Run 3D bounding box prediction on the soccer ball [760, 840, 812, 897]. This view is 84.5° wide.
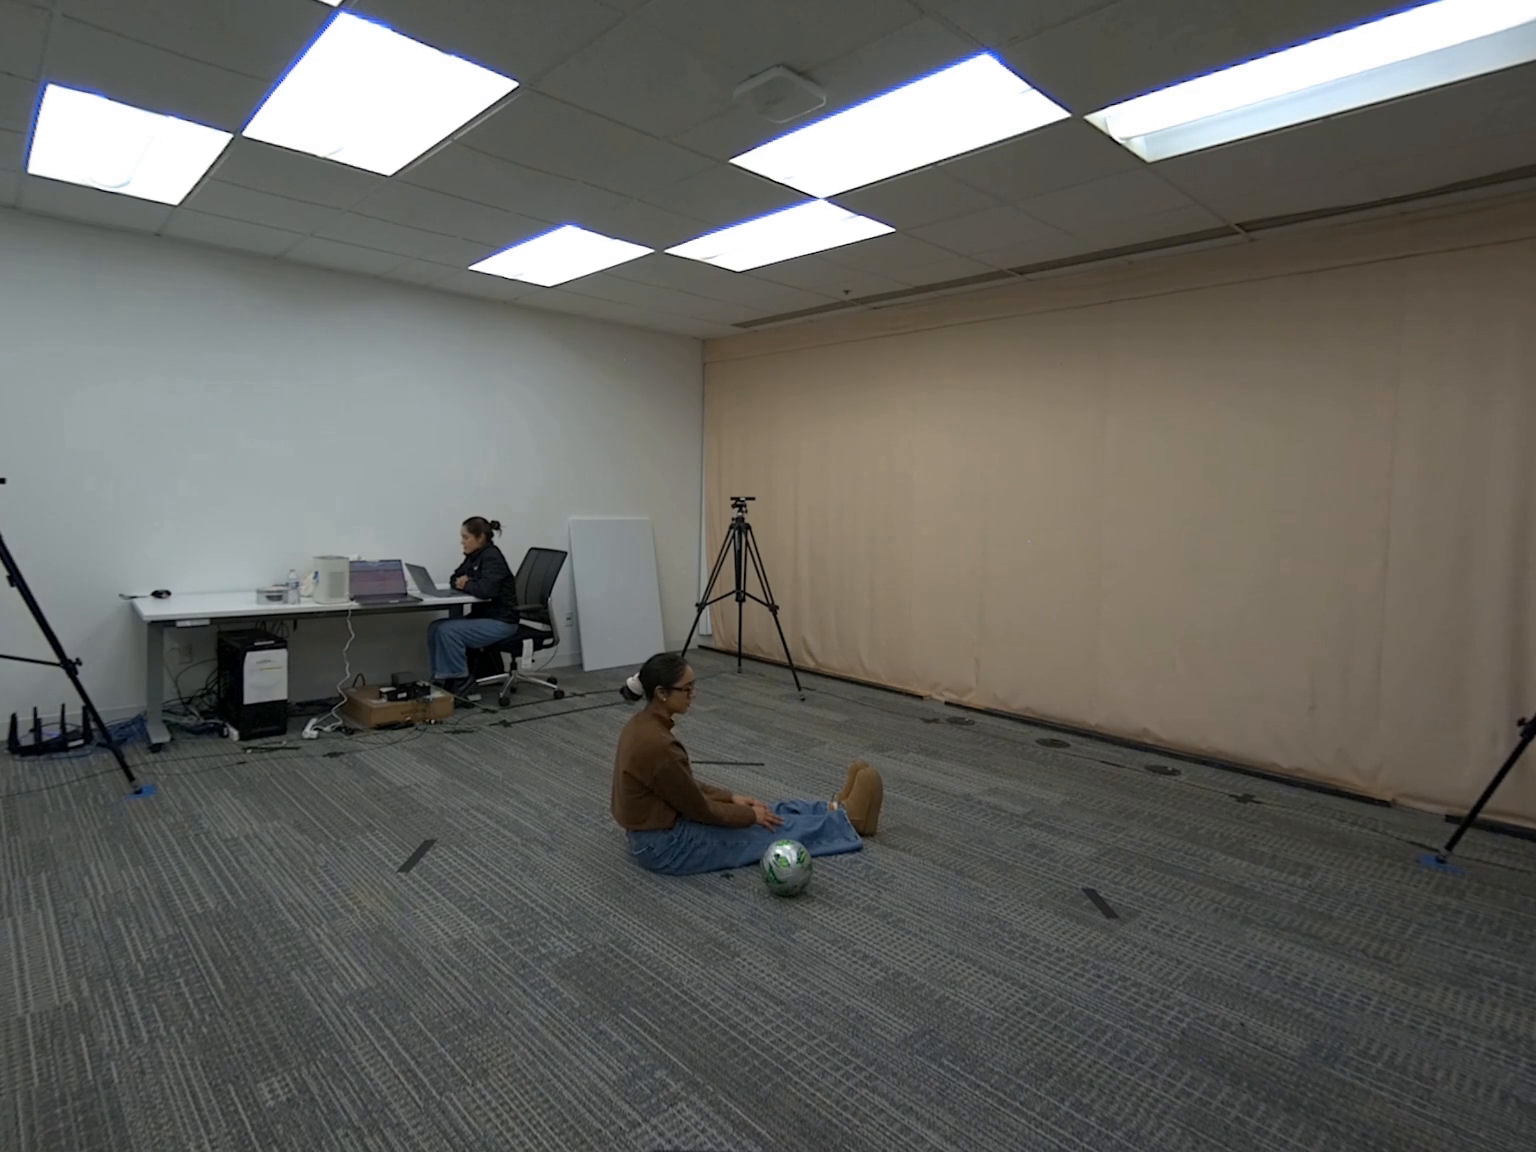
[{"bbox_3d":[0.062,1.033,2.973,0.187,0.187,0.188,1,4,-1],"label":"soccer ball"}]
